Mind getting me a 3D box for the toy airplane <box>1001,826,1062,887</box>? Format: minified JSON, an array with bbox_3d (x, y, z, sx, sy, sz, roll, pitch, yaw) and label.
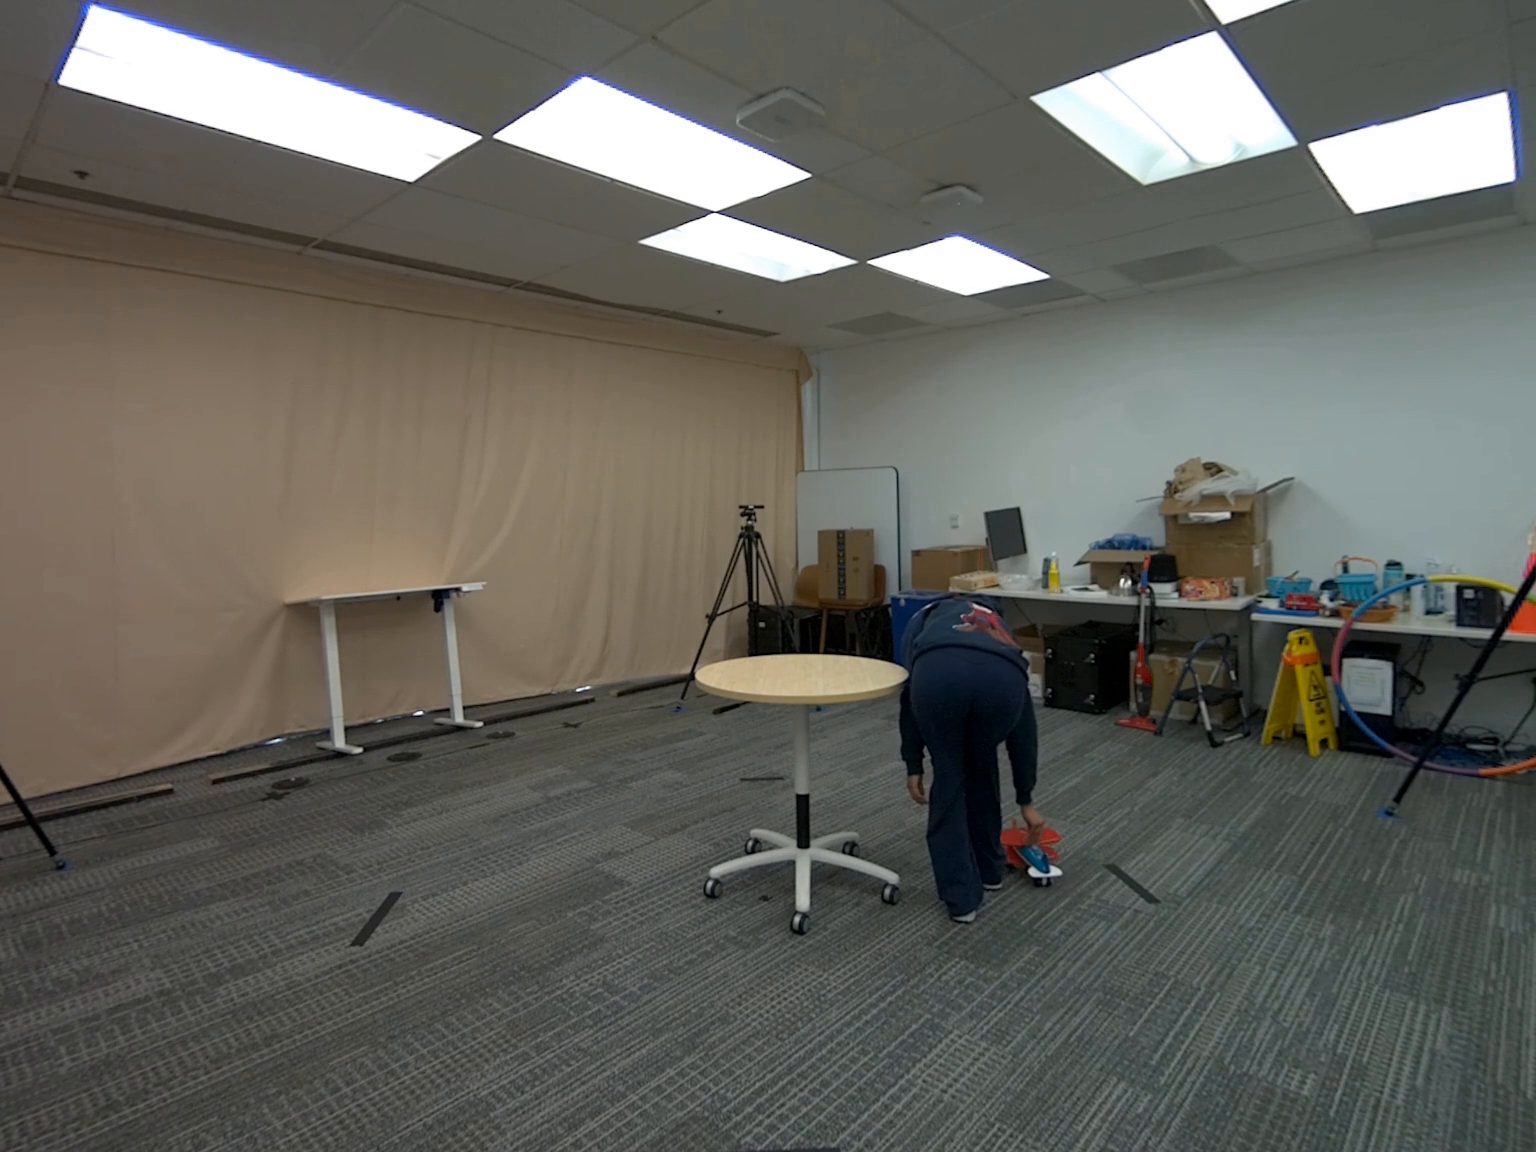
[{"bbox_3d":[1.001,1.044,3.124,0.244,0.156,0.267,-4,5,-38],"label":"toy airplane"}]
